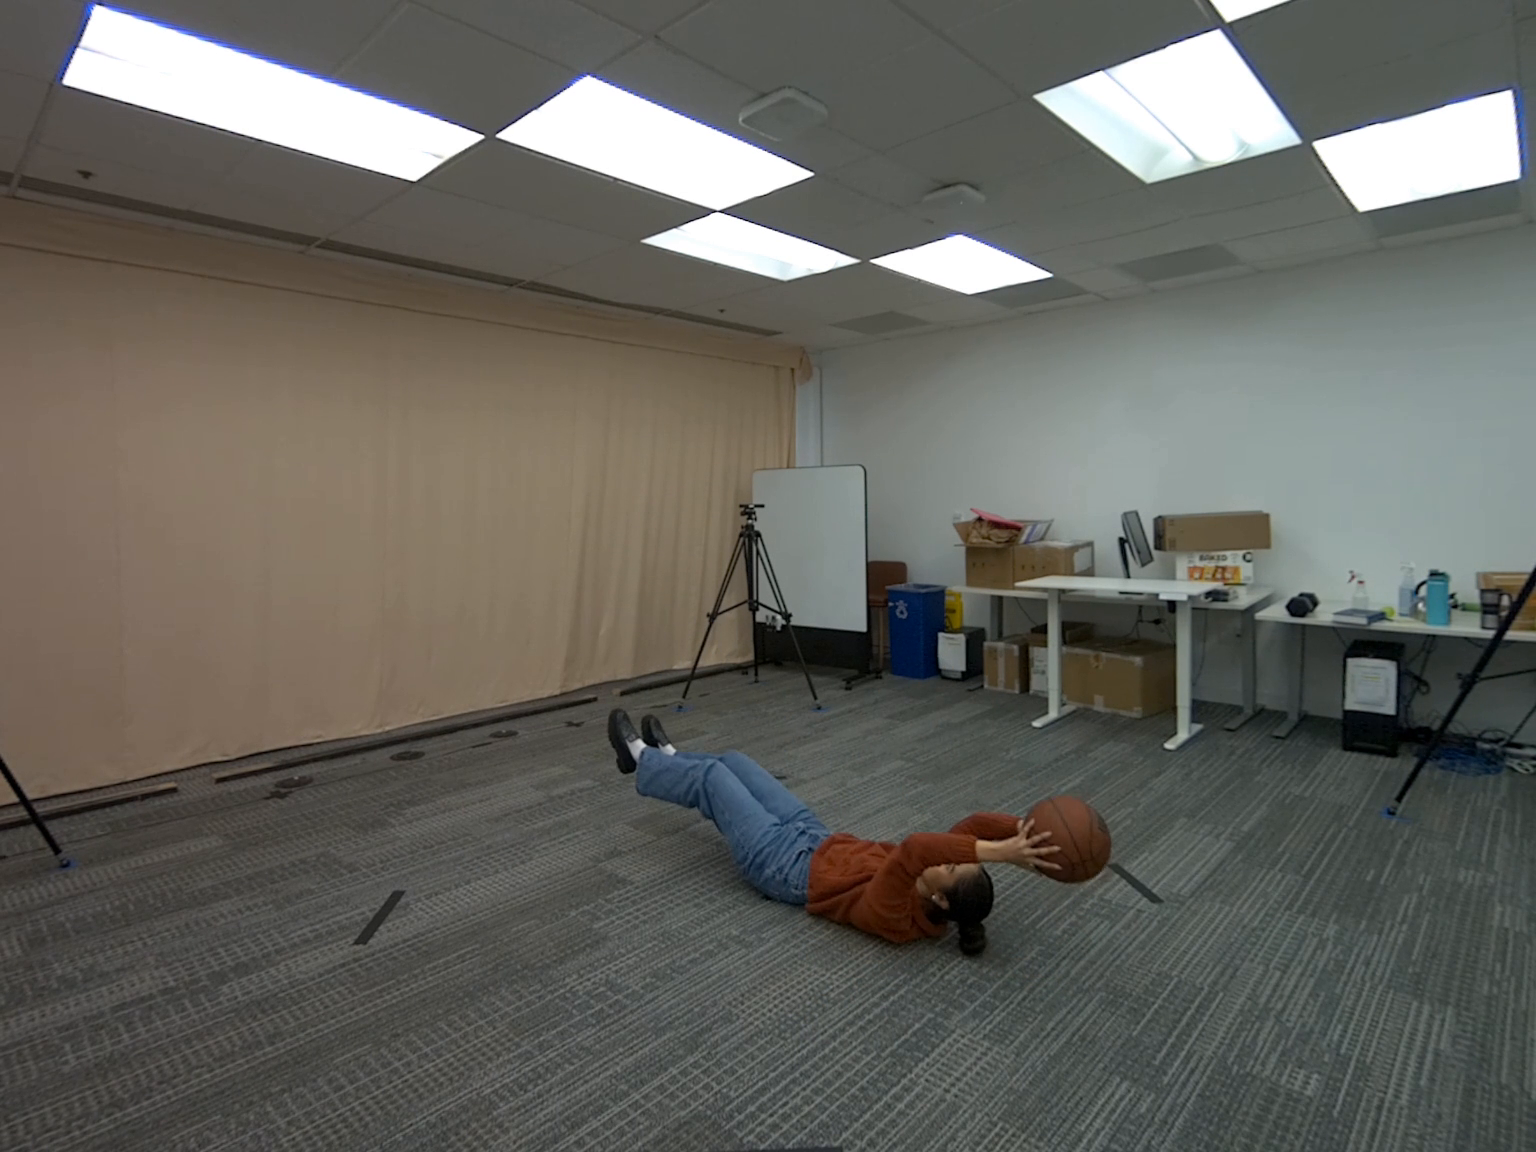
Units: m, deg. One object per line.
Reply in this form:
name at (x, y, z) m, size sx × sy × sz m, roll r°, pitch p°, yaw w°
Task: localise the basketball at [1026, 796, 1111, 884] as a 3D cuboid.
basketball at (0.847, 0.742, 2.395) m, size 0.235 × 0.235 × 0.237 m, roll 2°, pitch 5°, yaw -2°
